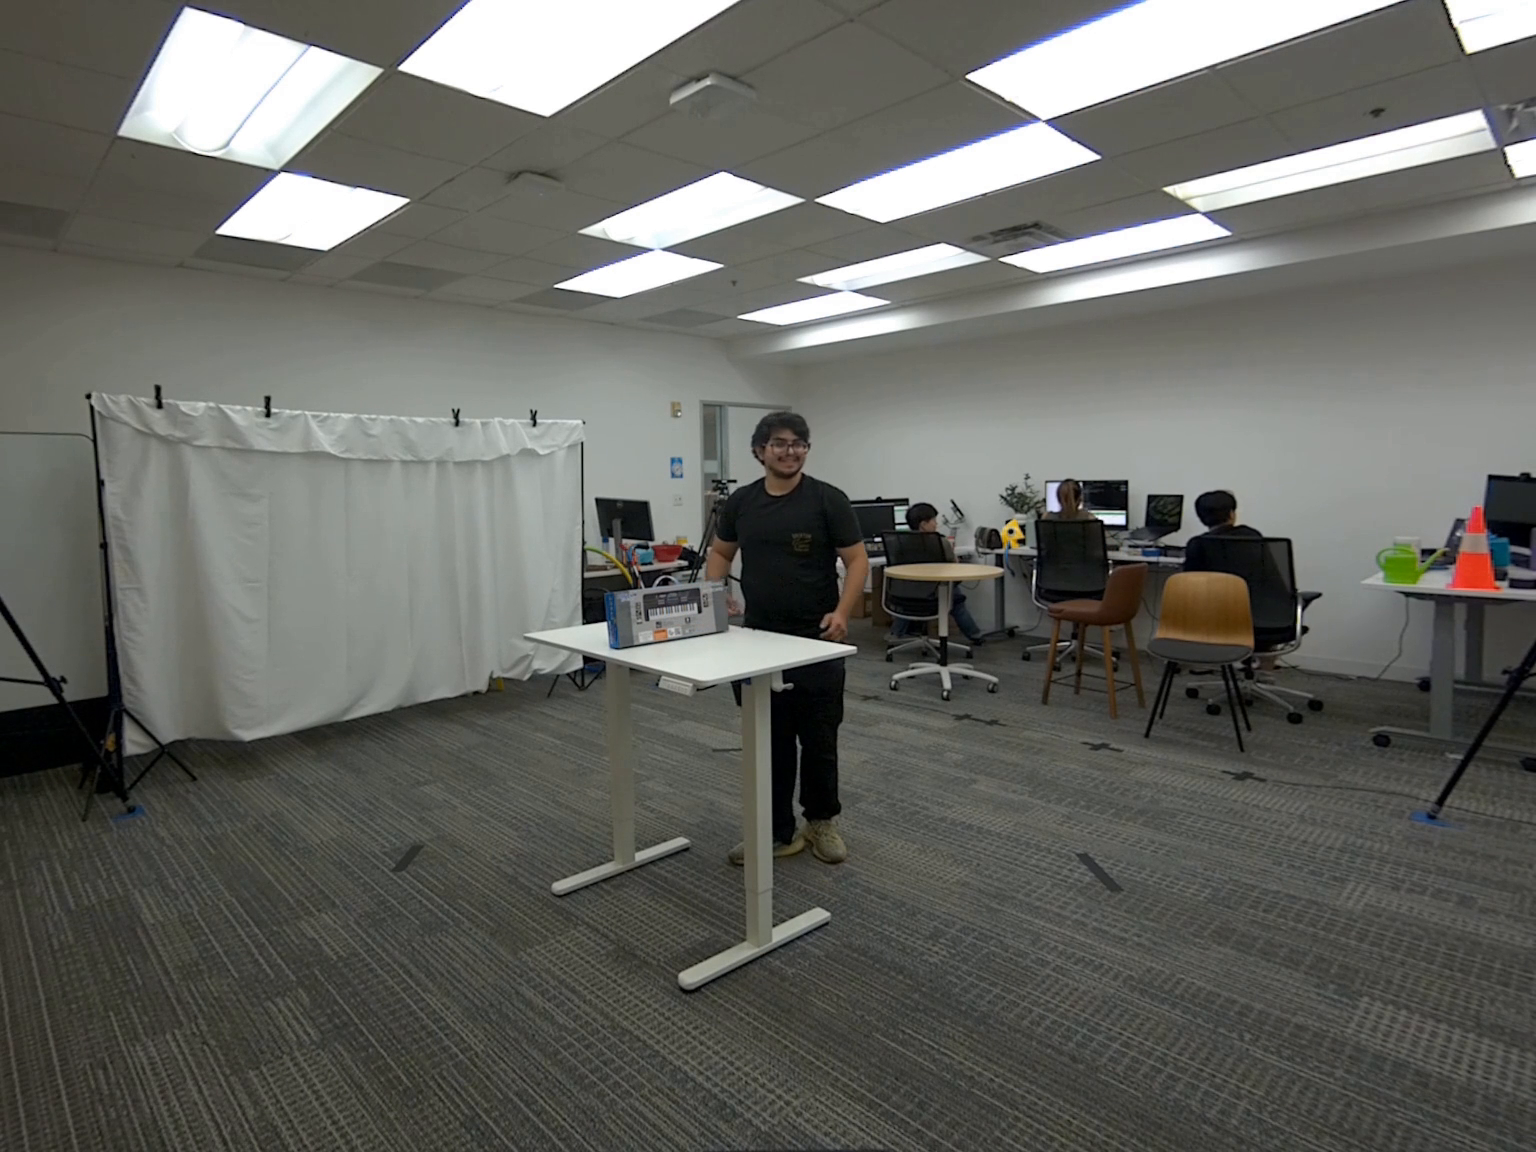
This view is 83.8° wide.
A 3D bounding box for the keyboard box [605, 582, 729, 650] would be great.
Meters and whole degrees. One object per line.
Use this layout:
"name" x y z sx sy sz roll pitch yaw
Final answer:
"keyboard box" -0.321 0.121 2.778 0.426 0.176 0.060 -6 -1 -39
